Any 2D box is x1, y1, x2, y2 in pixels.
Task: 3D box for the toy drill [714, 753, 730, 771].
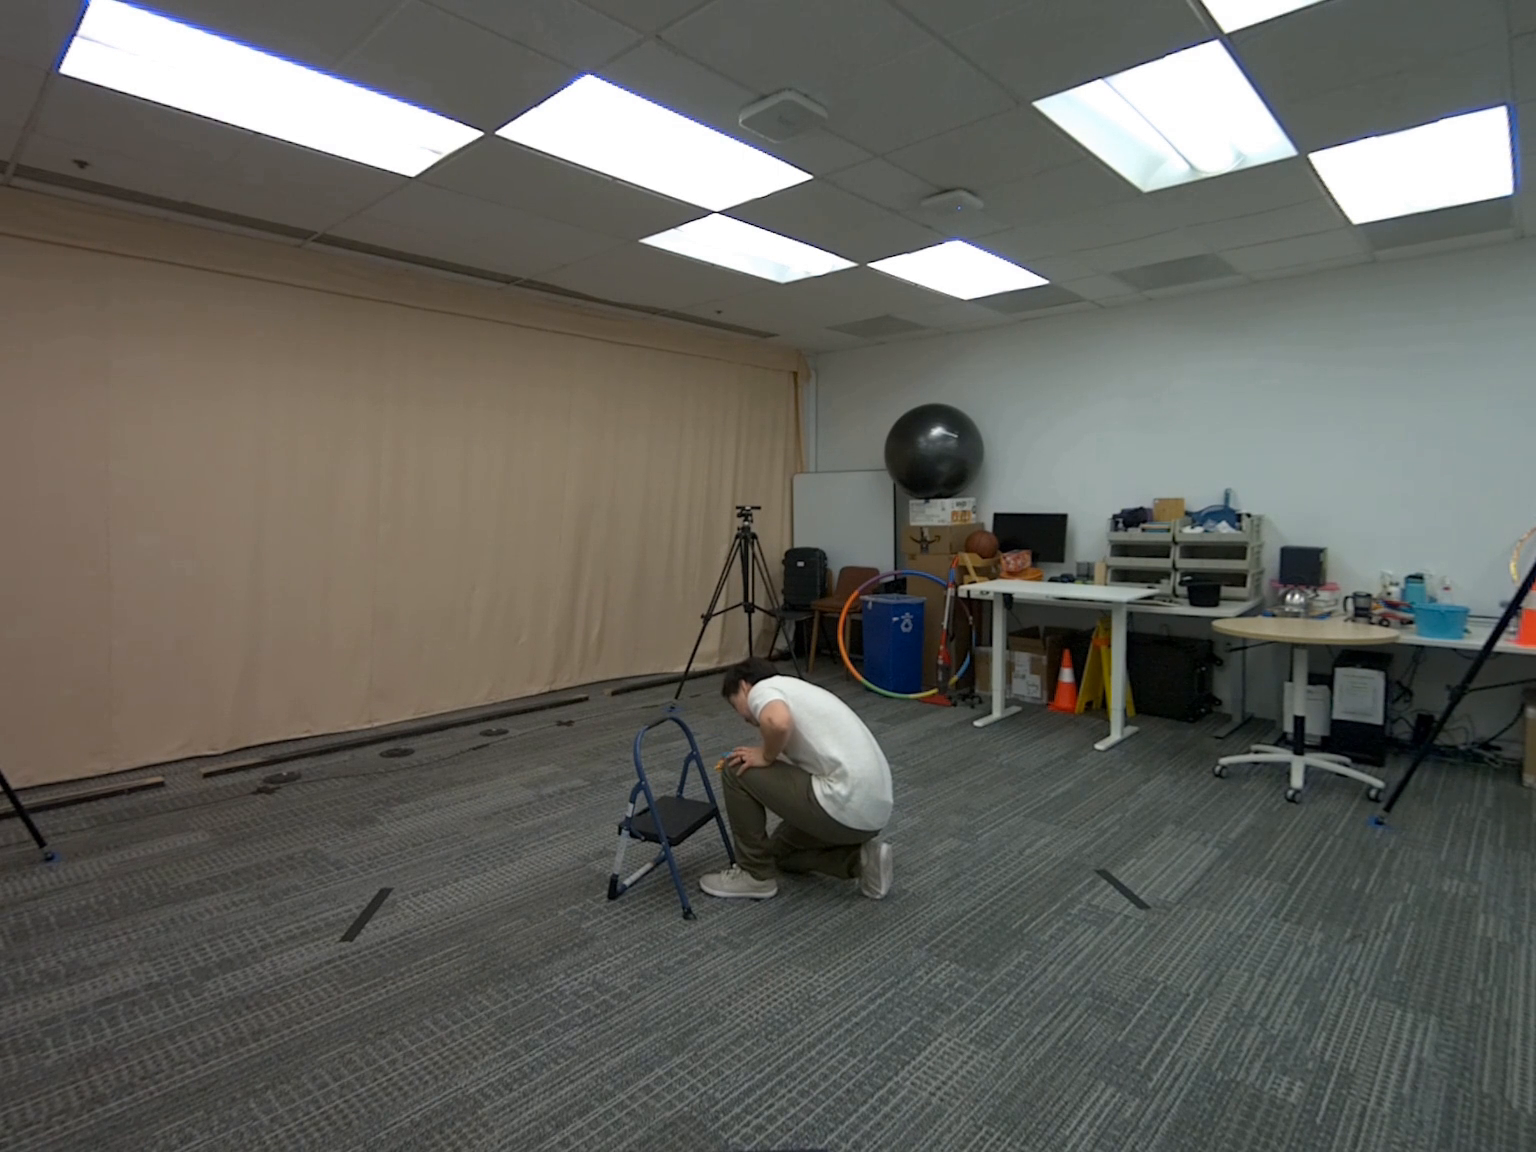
[{"bbox_3d":[-0.128,0.778,3.371,0.149,0.061,0.166,40,32,16],"label":"toy drill"}]
